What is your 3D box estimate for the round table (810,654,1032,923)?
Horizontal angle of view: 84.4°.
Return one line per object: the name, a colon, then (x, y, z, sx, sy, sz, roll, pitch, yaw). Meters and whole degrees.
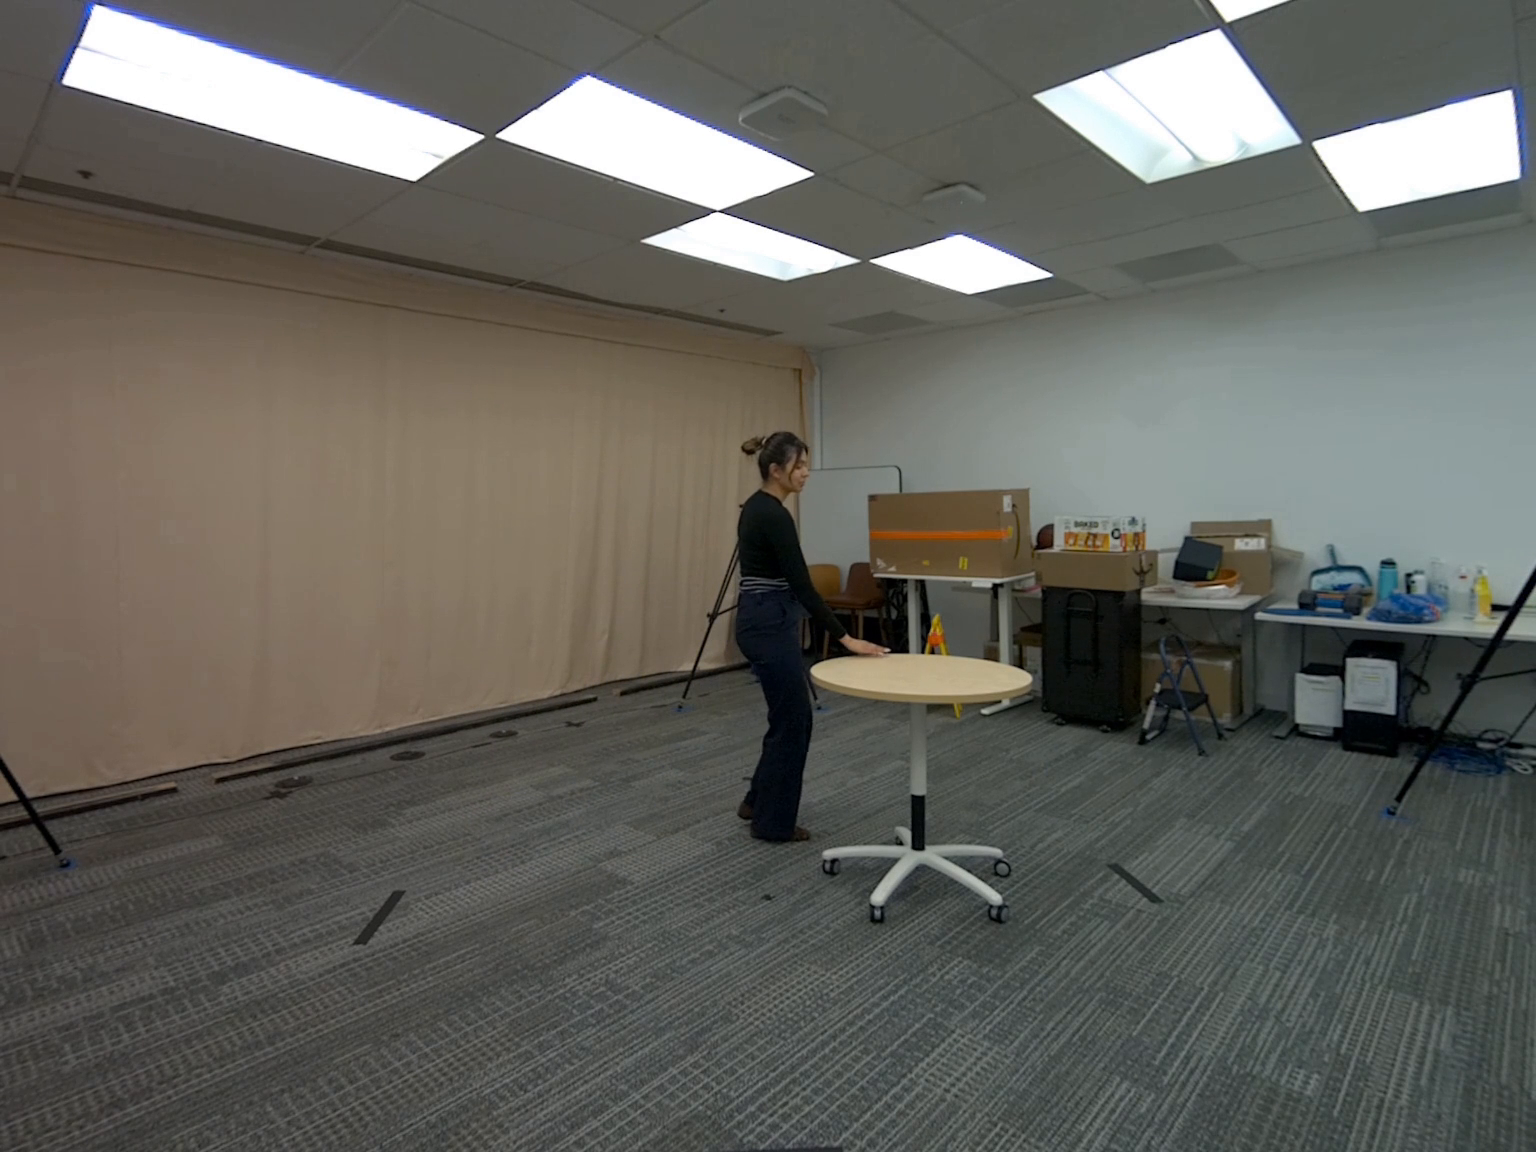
round table: (0.546, 0.737, 3.026, 0.763, 0.792, 0.766, -1, 3, -2)
